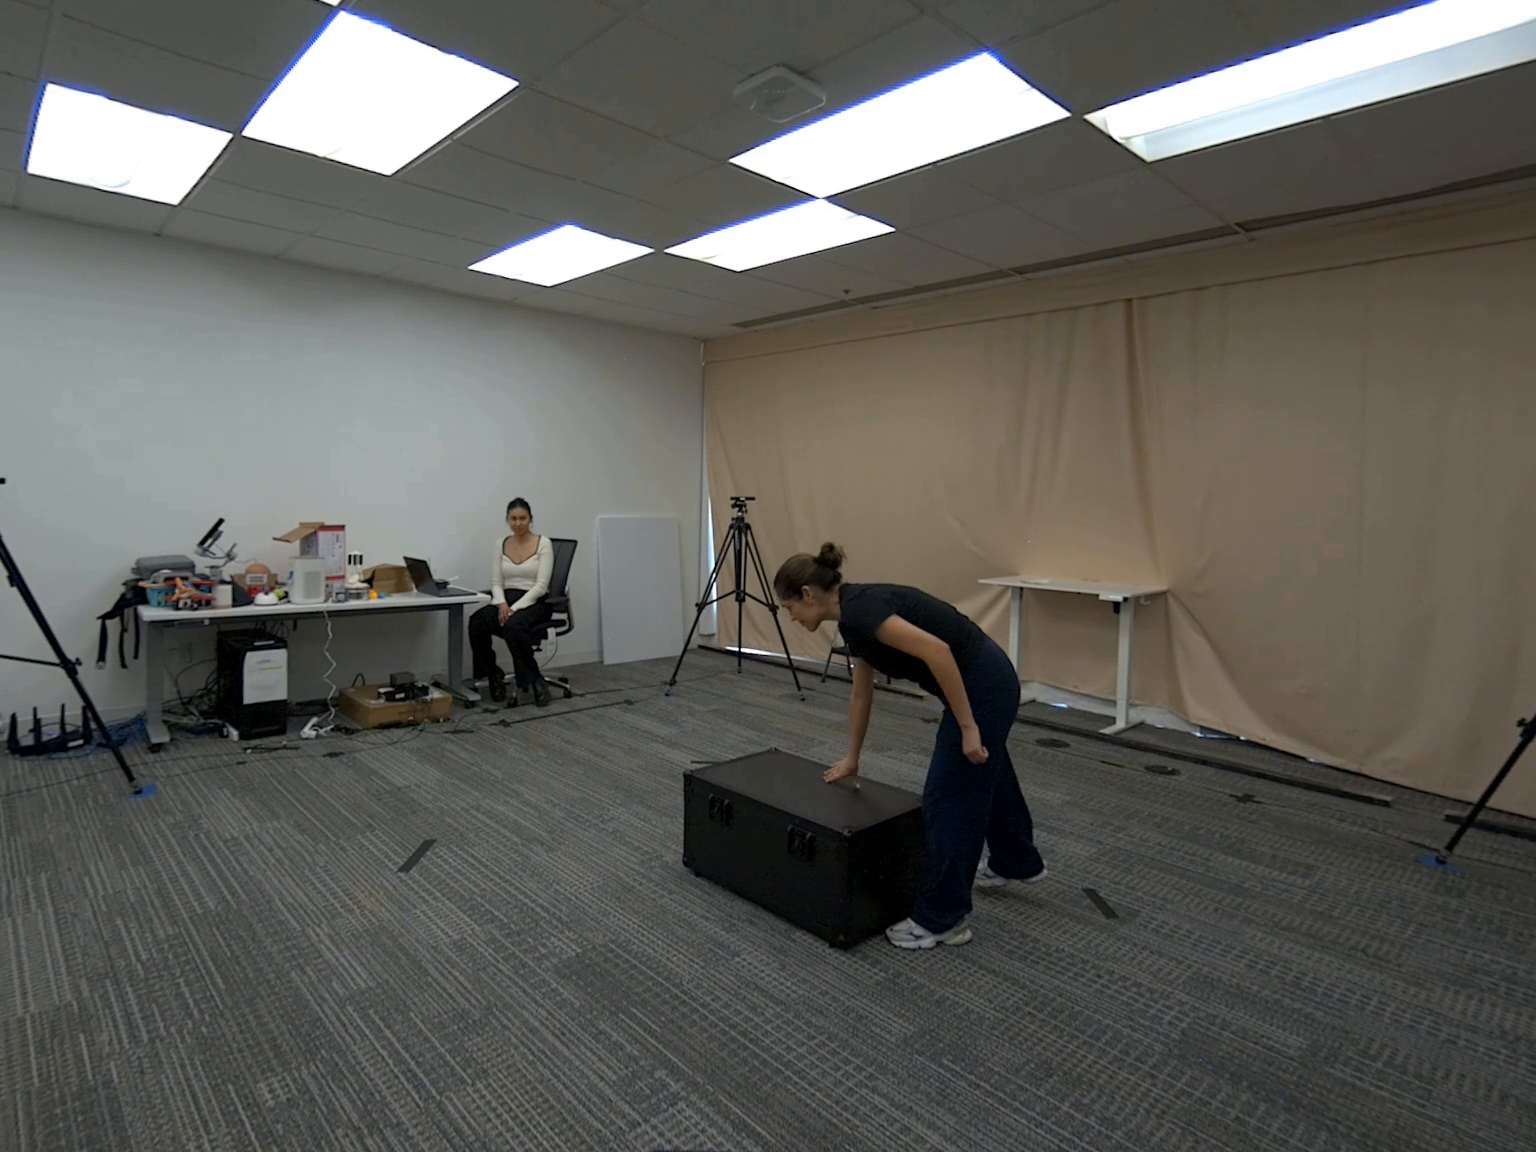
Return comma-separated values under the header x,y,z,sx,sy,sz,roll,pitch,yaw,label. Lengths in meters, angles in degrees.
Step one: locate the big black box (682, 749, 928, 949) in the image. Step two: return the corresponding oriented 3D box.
x,y,z,sx,sy,sz,roll,pitch,yaw,label
0.098,0.916,3.017,0.509,0.395,0.884,-3,7,-44,big black box
